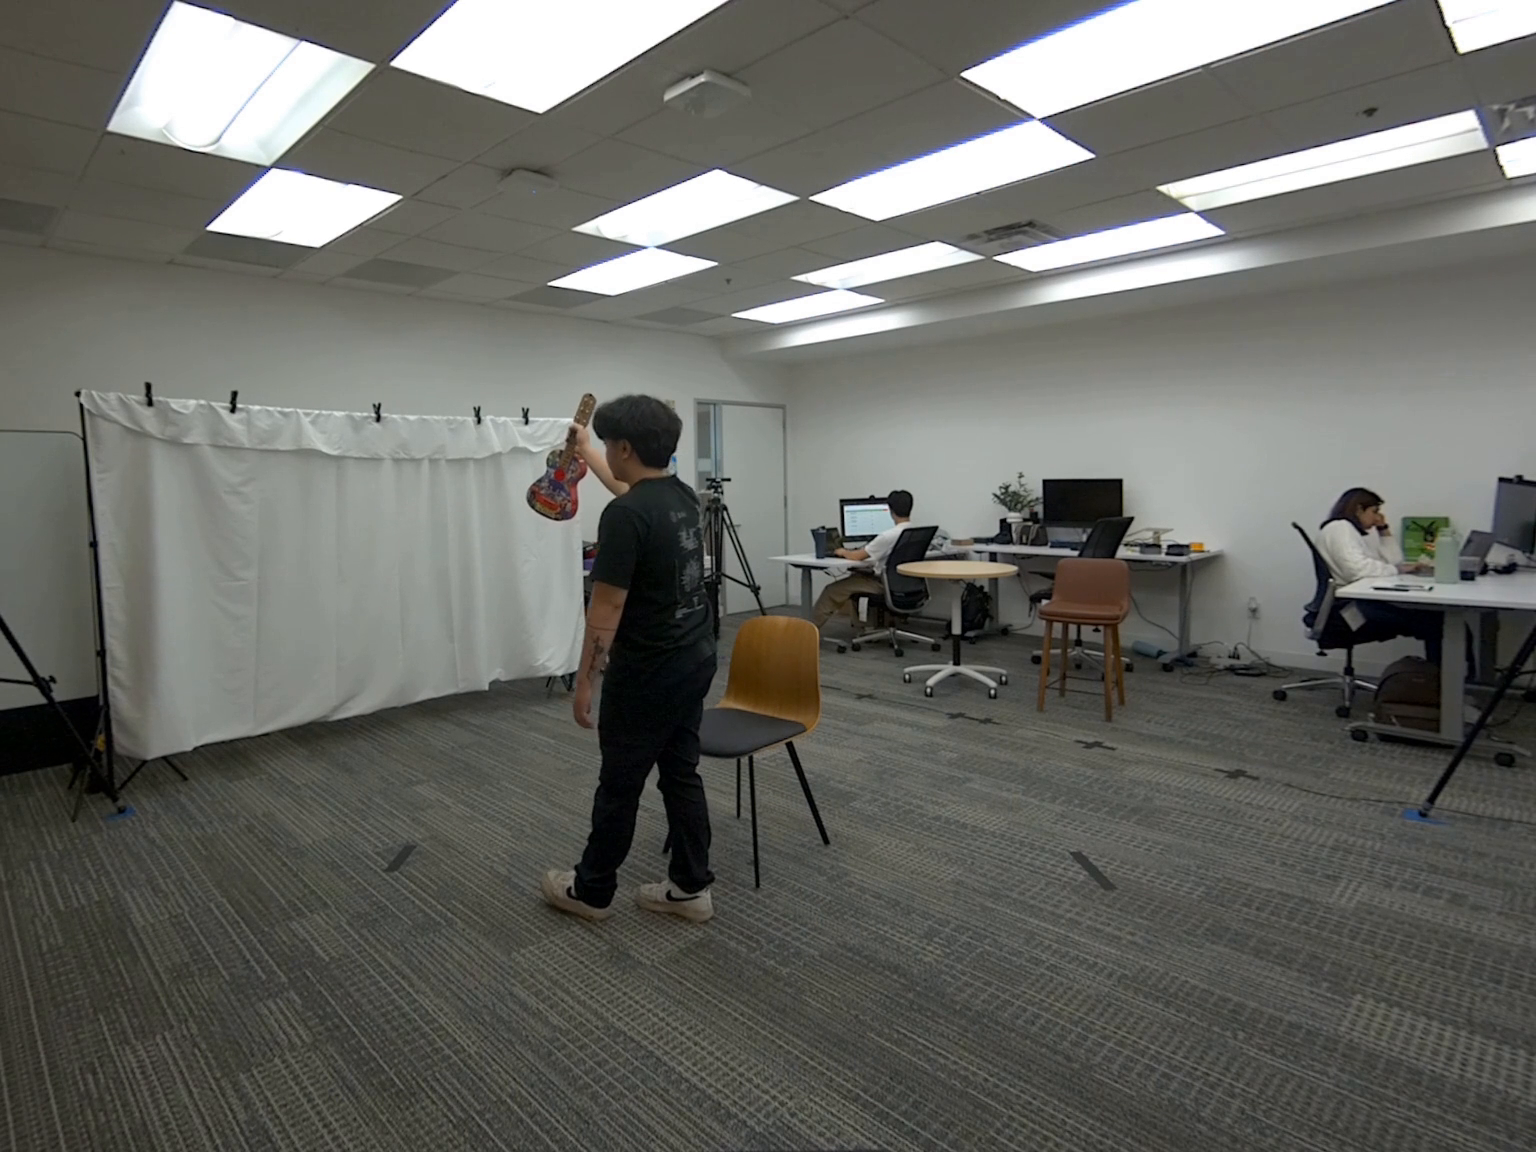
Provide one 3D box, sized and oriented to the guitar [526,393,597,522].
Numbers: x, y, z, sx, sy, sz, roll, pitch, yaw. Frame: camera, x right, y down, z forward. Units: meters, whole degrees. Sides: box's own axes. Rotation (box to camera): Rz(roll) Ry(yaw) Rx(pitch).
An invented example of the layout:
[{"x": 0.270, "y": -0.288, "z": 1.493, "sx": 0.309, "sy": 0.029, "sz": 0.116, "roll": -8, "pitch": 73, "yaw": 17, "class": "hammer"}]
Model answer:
[{"x": -0.728, "y": -0.432, "z": 3.208, "sx": 0.195, "sy": 0.496, "sz": 0.070, "roll": 34, "pitch": 14, "yaw": 8, "class": "guitar"}]
